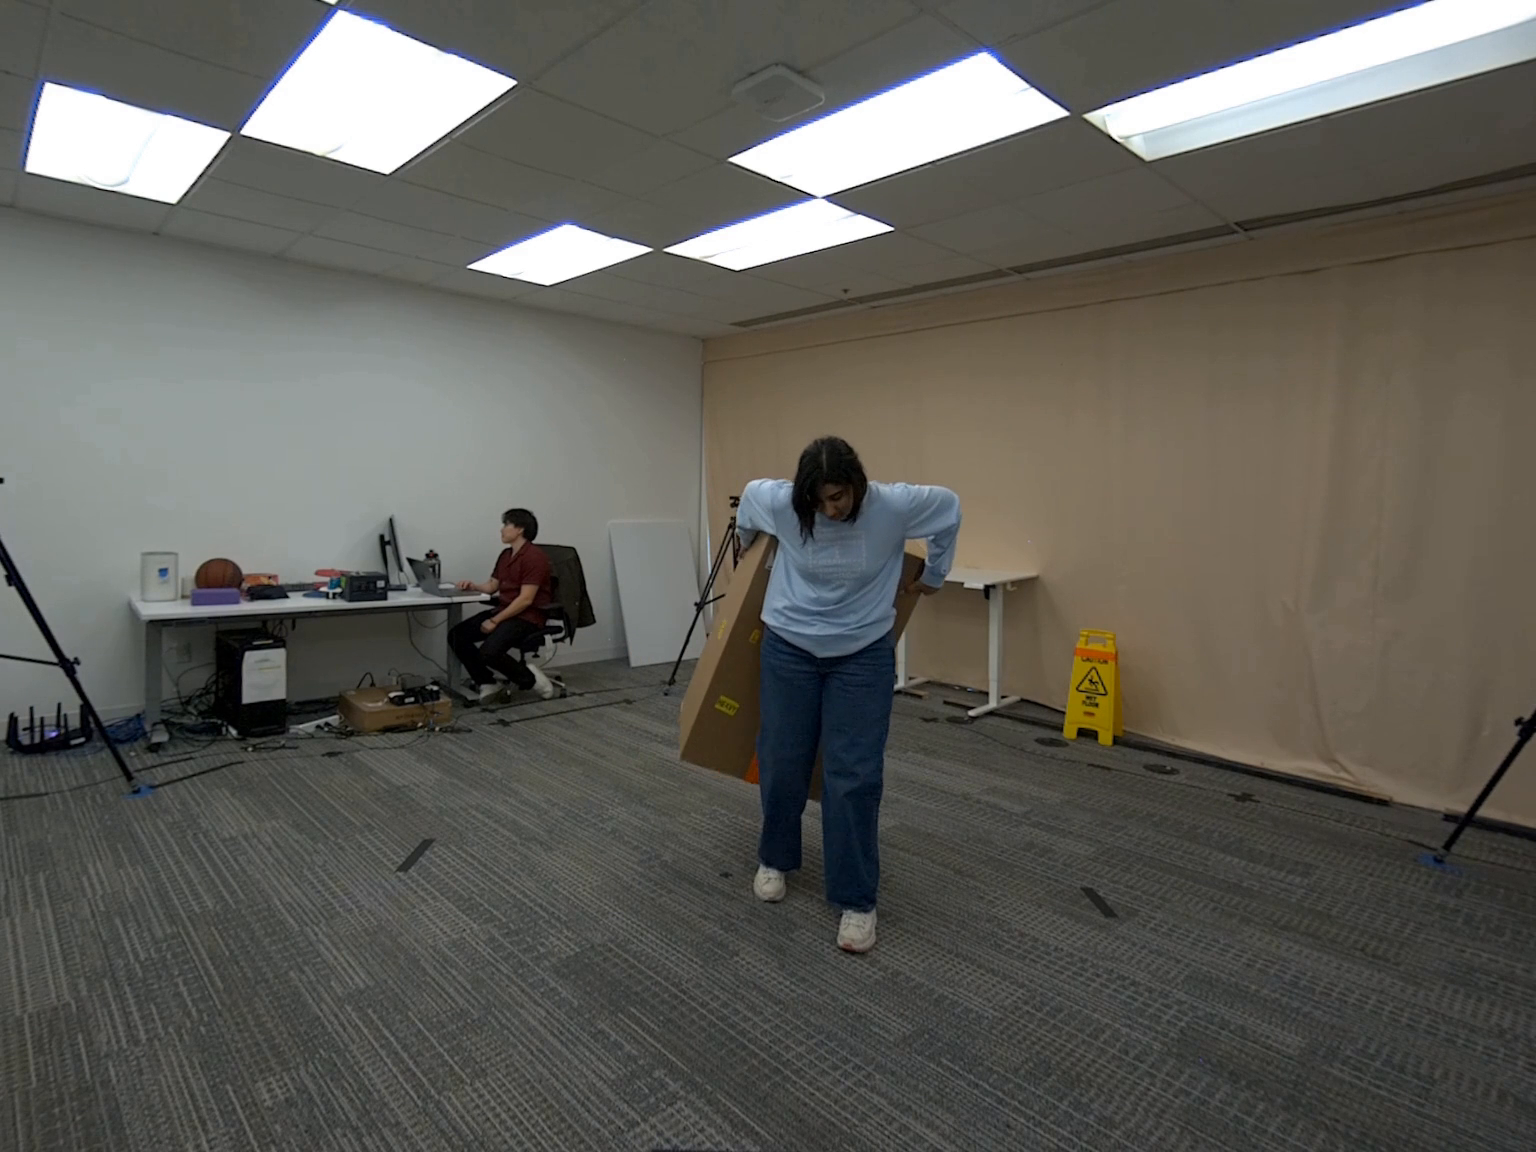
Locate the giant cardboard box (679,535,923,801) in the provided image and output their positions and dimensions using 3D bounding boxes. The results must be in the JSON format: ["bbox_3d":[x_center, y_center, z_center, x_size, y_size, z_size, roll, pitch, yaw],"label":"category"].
[{"bbox_3d":[0.101,0.243,3.179,0.572,1.019,0.433,19,17,-9],"label":"giant cardboard box"}]
